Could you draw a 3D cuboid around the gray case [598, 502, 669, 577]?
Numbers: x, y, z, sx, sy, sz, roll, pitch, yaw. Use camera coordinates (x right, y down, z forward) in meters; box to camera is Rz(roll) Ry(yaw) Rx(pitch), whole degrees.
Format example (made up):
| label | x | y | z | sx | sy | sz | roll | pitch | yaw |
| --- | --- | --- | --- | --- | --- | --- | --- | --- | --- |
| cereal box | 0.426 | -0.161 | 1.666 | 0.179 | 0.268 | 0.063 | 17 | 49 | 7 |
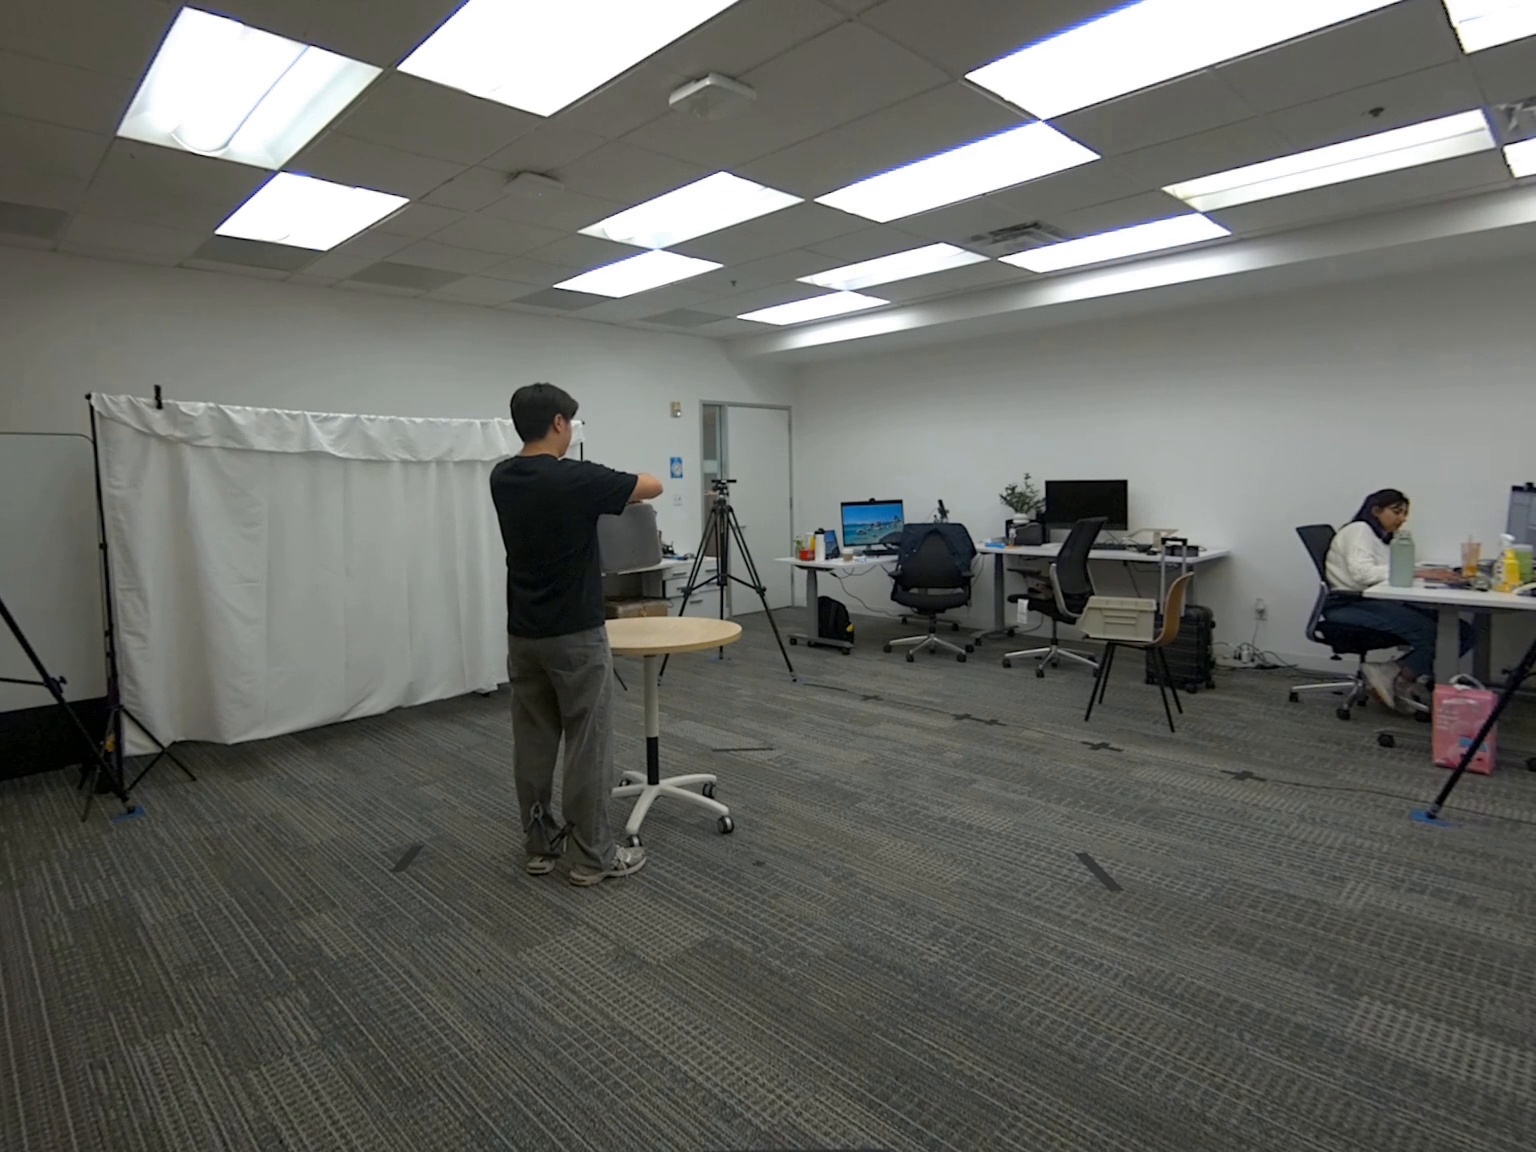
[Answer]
| label | x | y | z | sx | sy | sz | roll | pitch | yaw |
| --- | --- | --- | --- | --- | --- | --- | --- | --- | --- |
| gray case | -0.554 | -0.159 | 3.371 | 0.261 | 0.287 | 0.104 | -11 | 0 | -12 |
